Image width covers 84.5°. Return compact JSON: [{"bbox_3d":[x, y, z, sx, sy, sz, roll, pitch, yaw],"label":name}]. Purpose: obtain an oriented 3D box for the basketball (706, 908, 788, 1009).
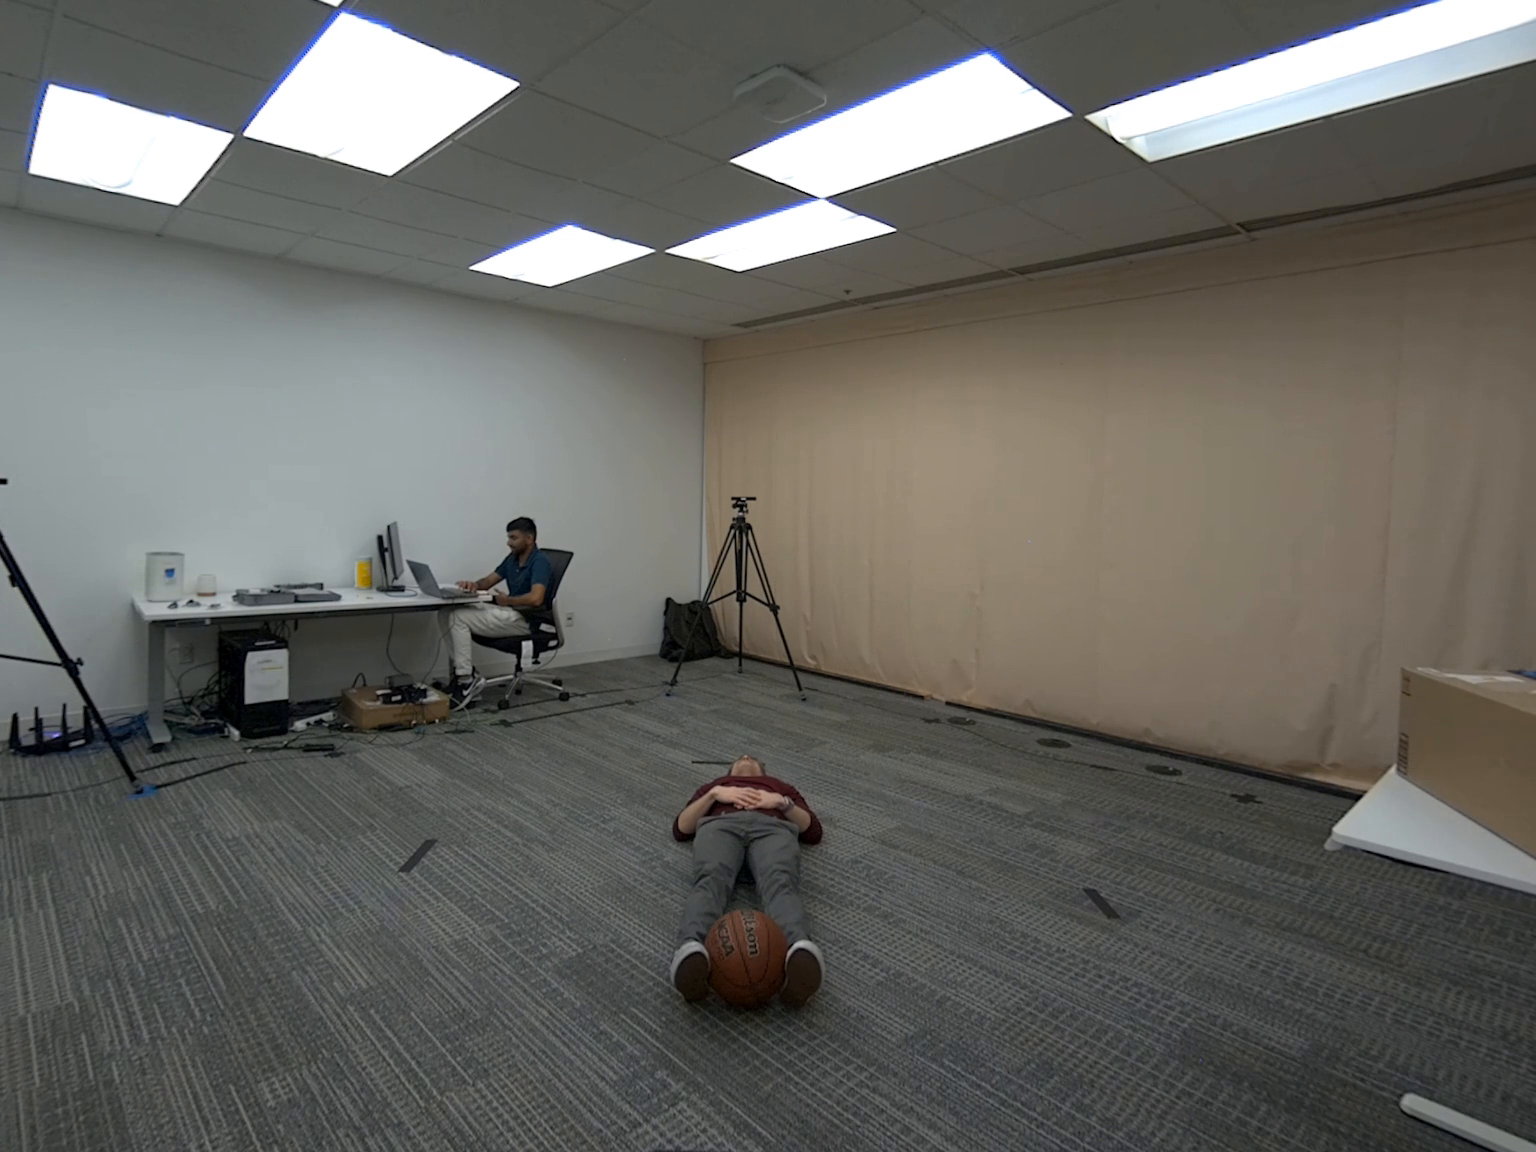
[{"bbox_3d":[-0.070,1.049,2.306,0.236,0.234,0.237,0,7,-1],"label":"basketball"}]
